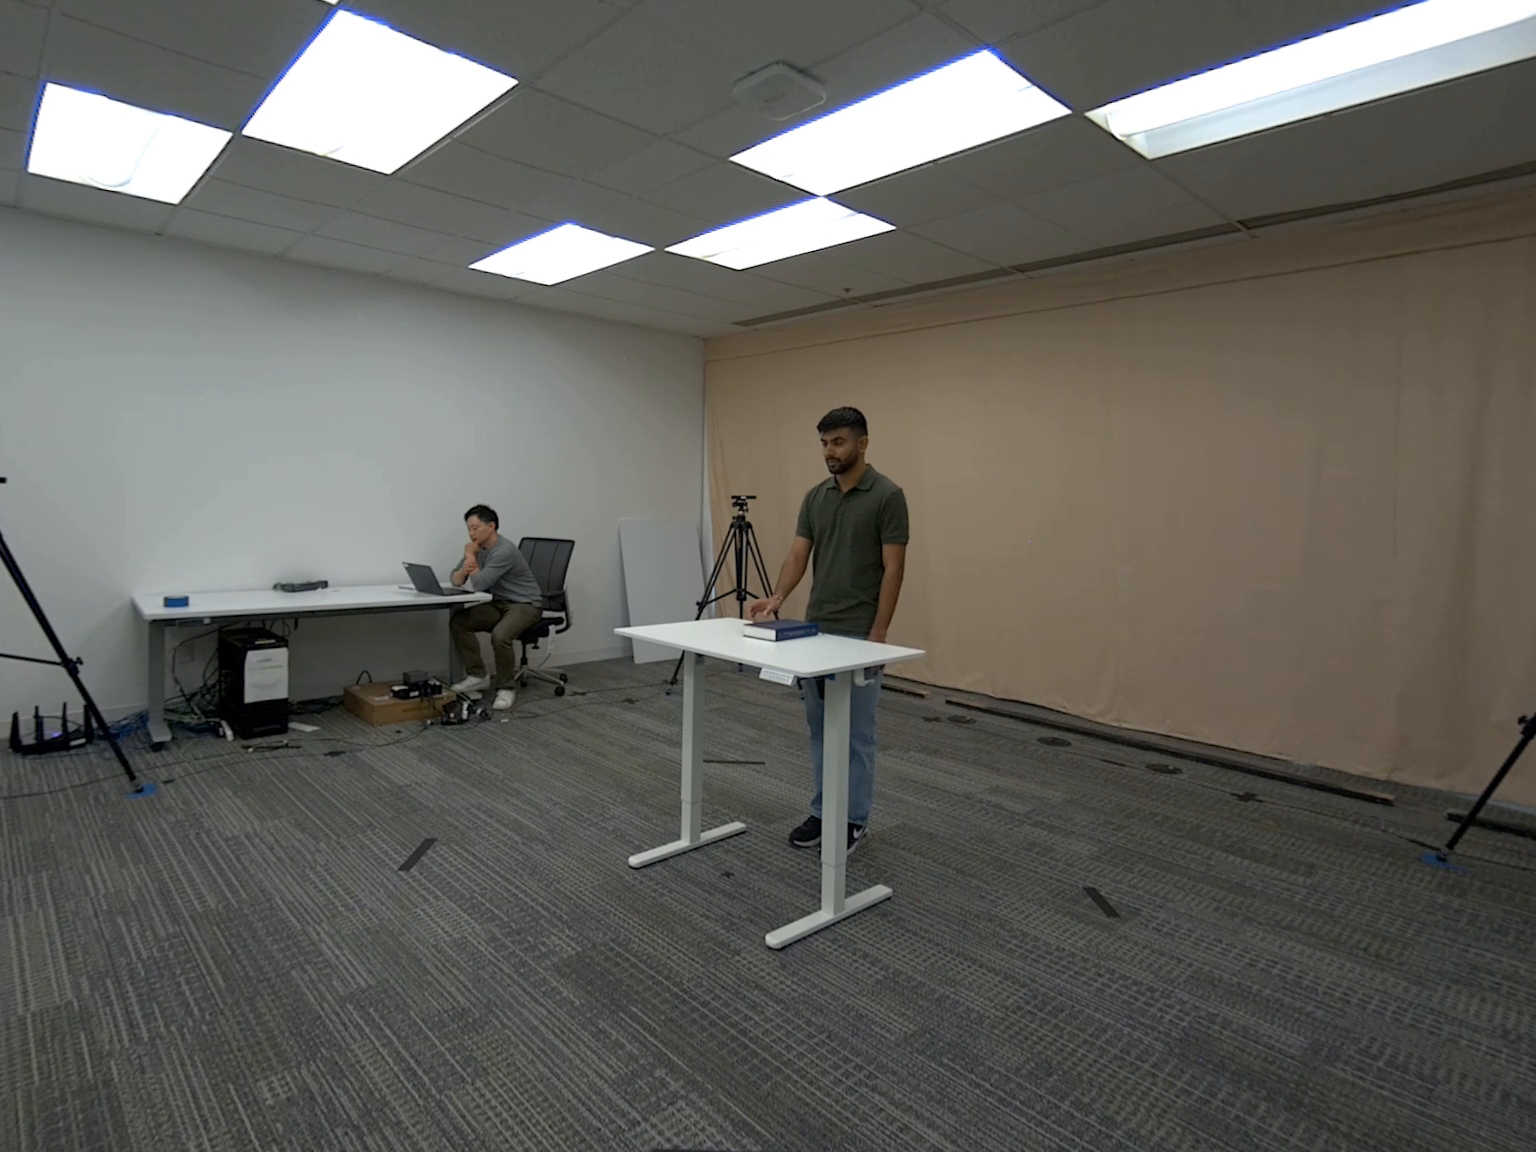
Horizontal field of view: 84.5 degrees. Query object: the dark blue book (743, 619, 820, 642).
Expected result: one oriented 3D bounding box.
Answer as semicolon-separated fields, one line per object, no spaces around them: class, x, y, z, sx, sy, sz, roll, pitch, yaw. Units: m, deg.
dark blue book;0.050;0.201;3.133;0.167;0.045;0.239;6;7;42
